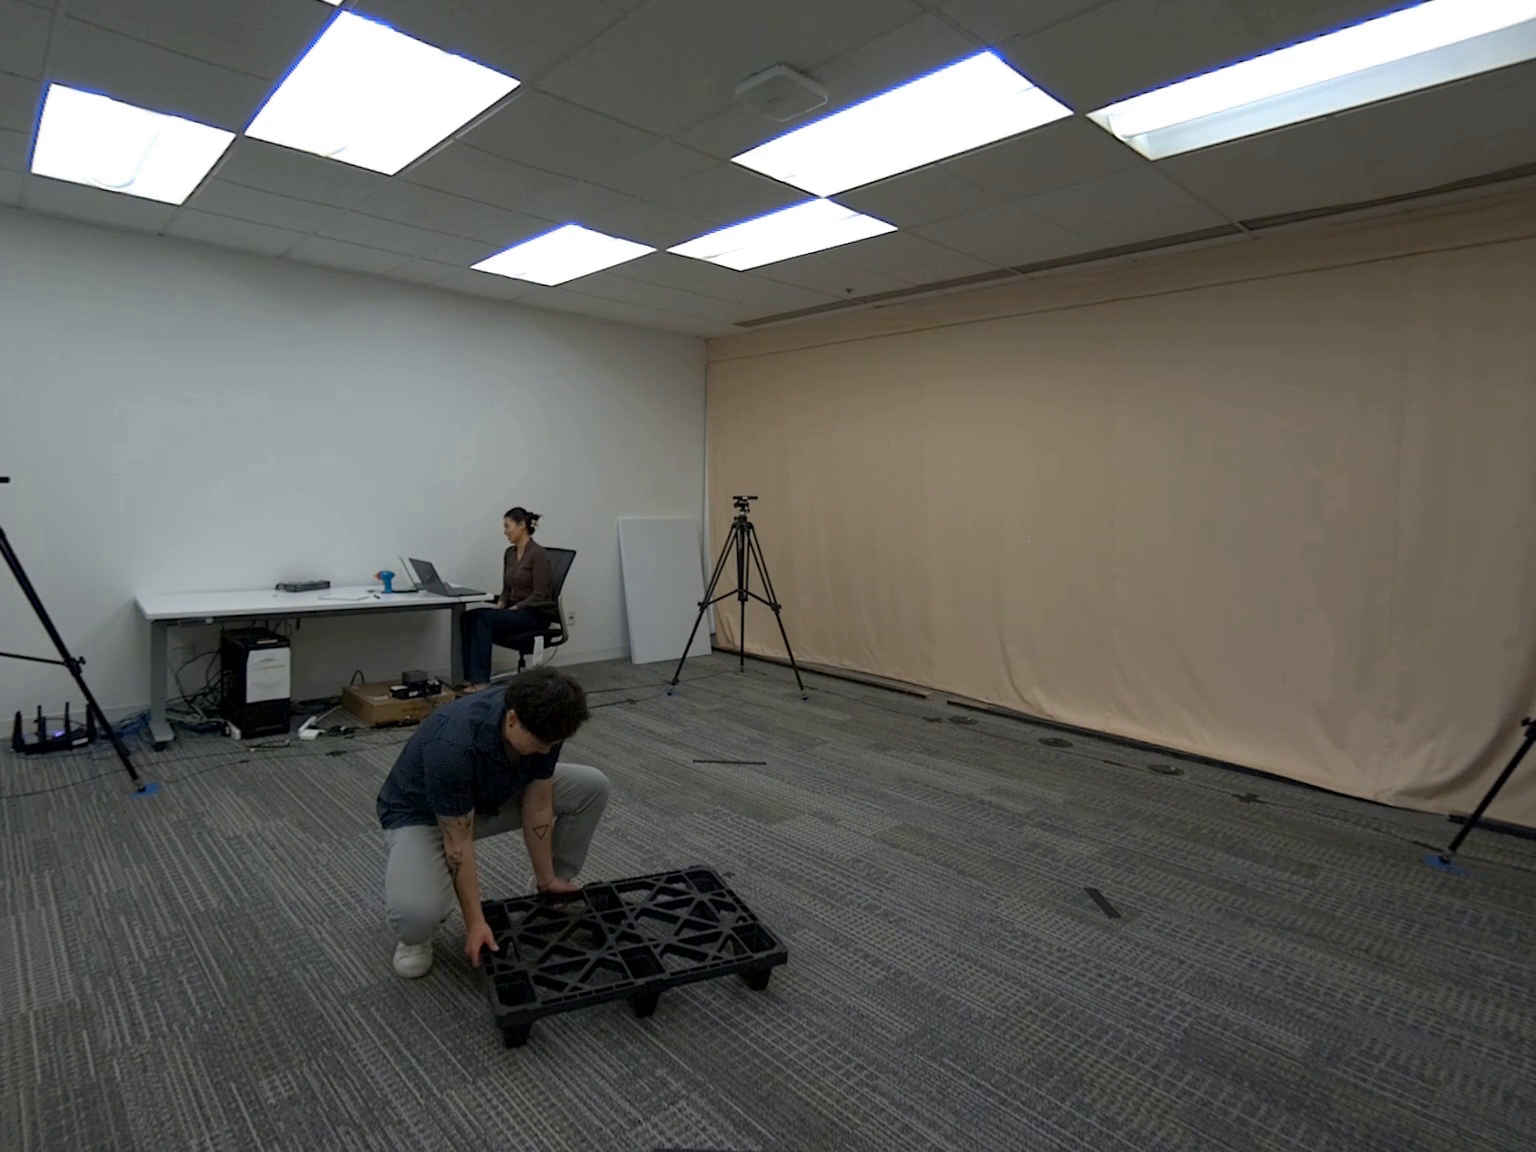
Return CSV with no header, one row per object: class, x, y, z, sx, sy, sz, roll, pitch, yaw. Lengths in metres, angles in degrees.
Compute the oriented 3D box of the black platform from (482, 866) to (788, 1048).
black platform,-0.424,1.088,2.449,0.791,0.143,0.618,-1,7,-25
